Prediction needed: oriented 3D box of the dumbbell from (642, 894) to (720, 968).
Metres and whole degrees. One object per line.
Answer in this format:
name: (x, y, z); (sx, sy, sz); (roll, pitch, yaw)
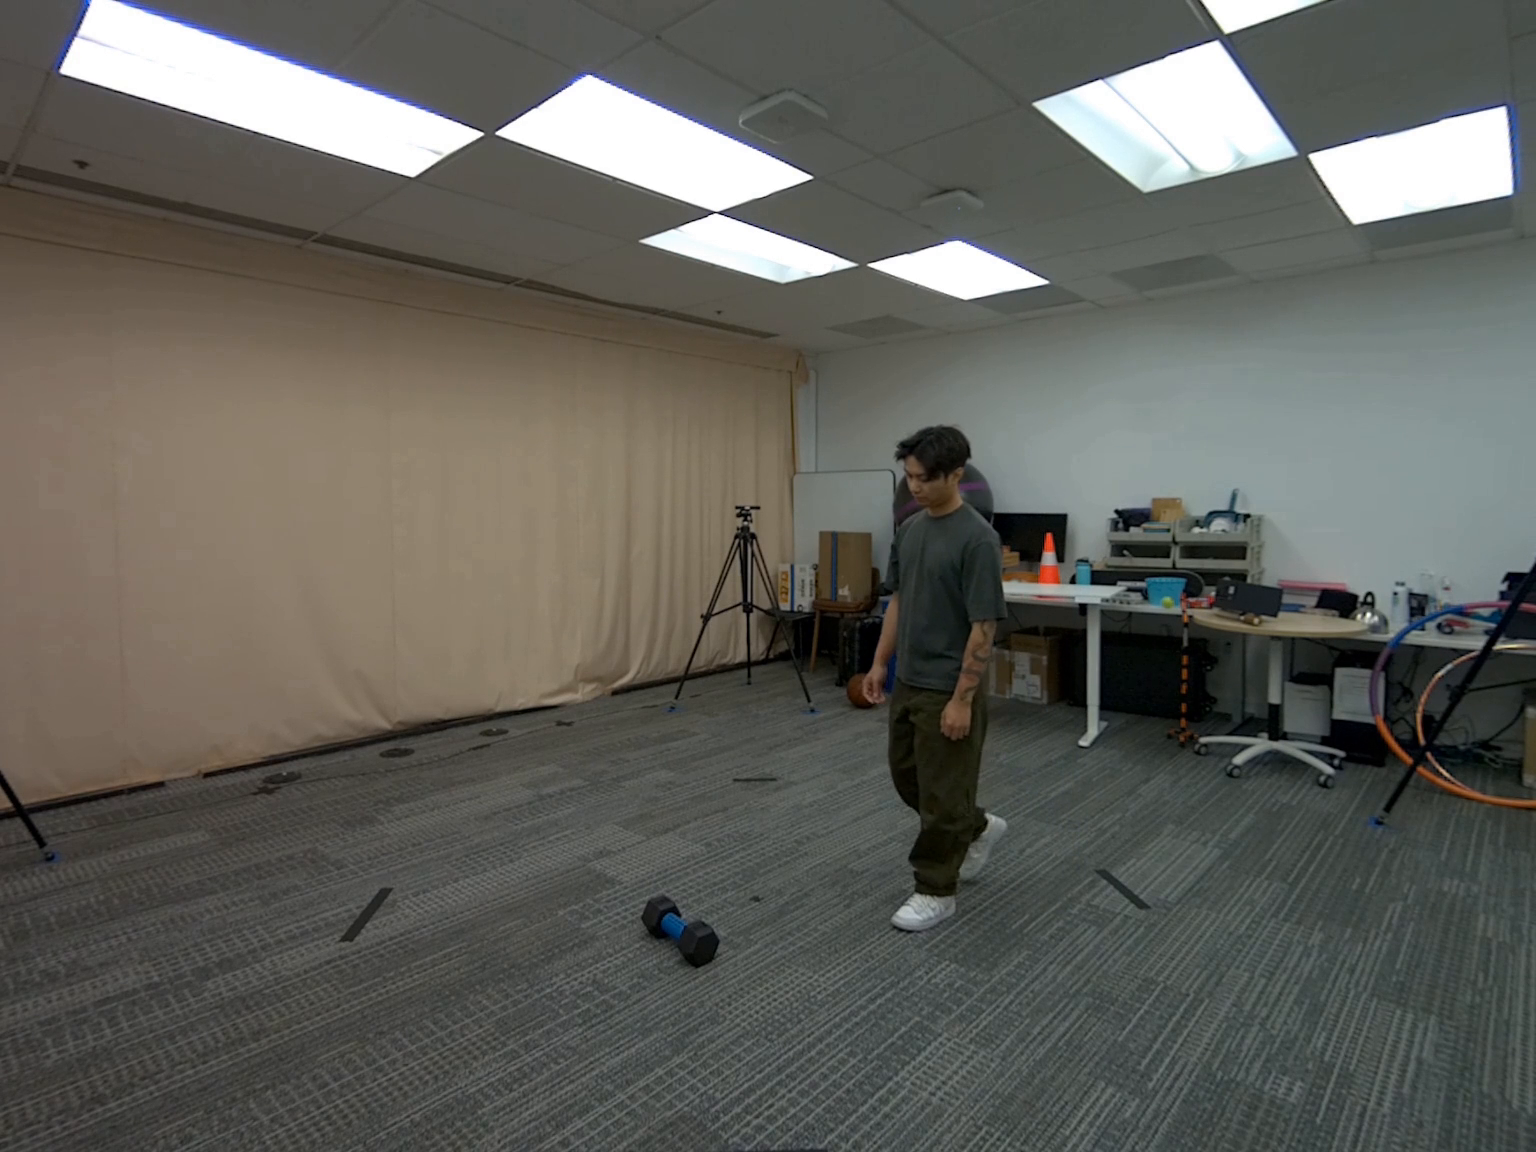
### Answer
dumbbell: (-0.276, 1.119, 2.662); (0.107, 0.120, 0.303); (-38, 25, -30)
